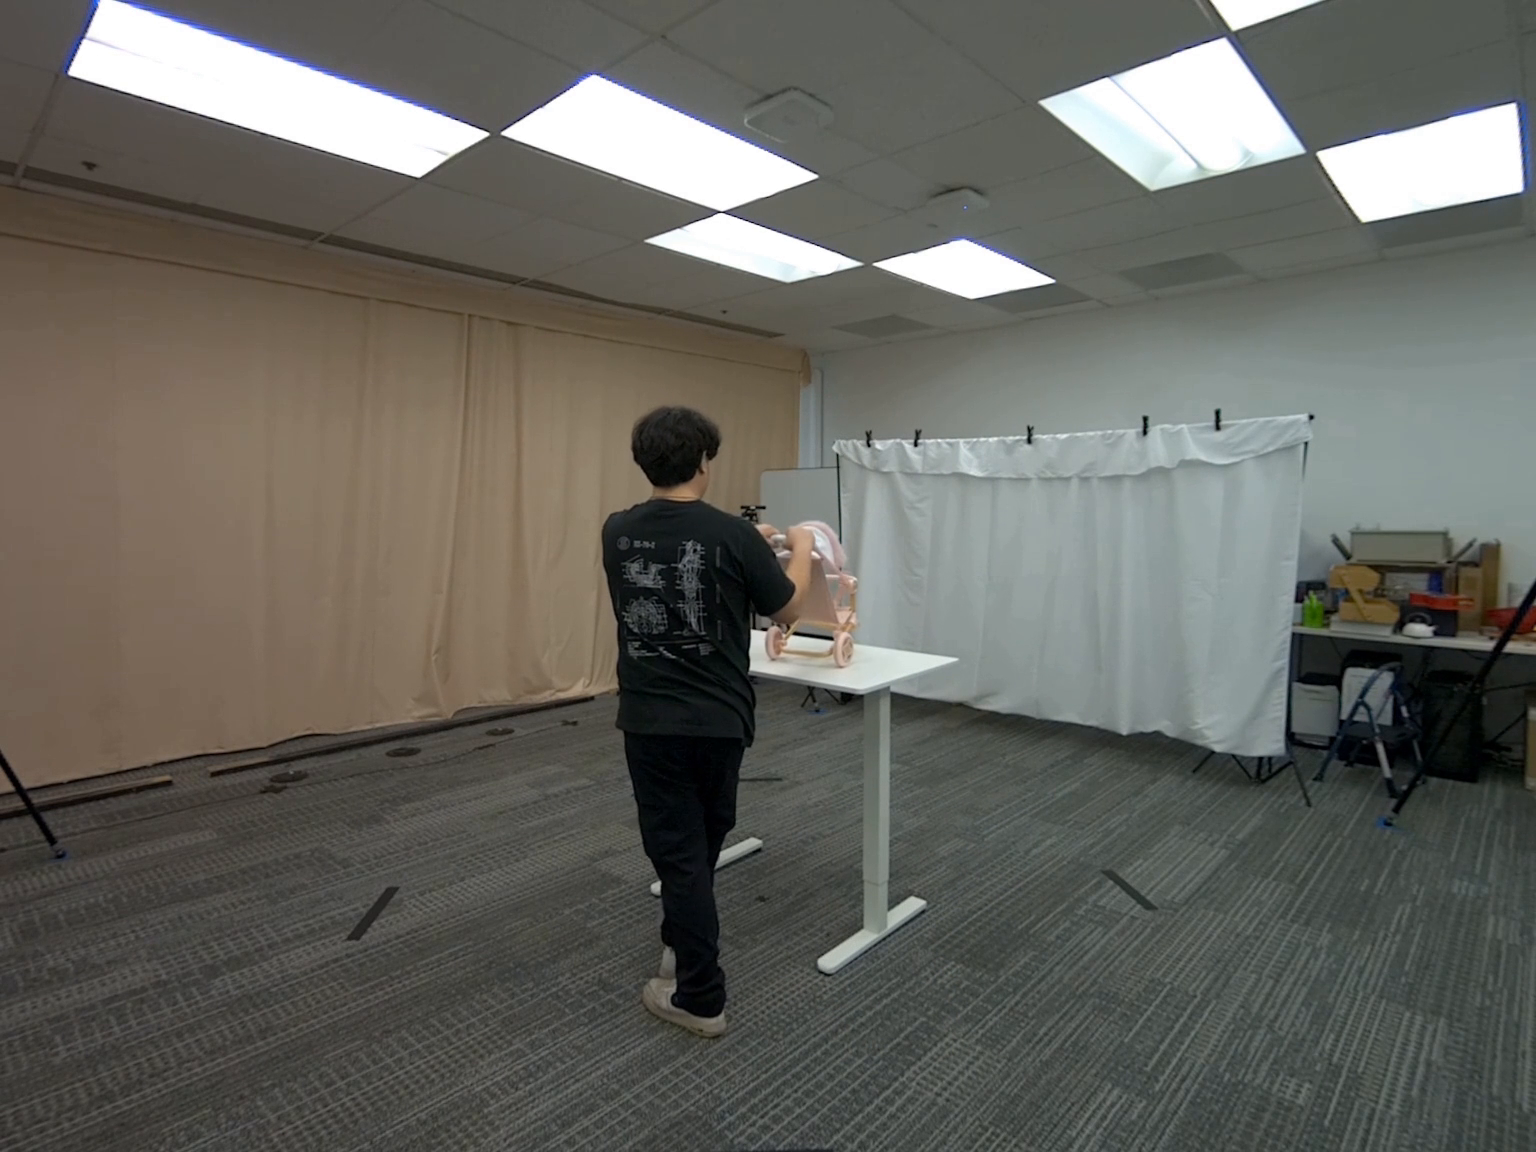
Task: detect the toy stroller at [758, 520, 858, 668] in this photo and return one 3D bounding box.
[{"bbox_3d":[0.163,0.057,2.771,0.290,0.528,0.335,3,20,34],"label":"toy stroller"}]
